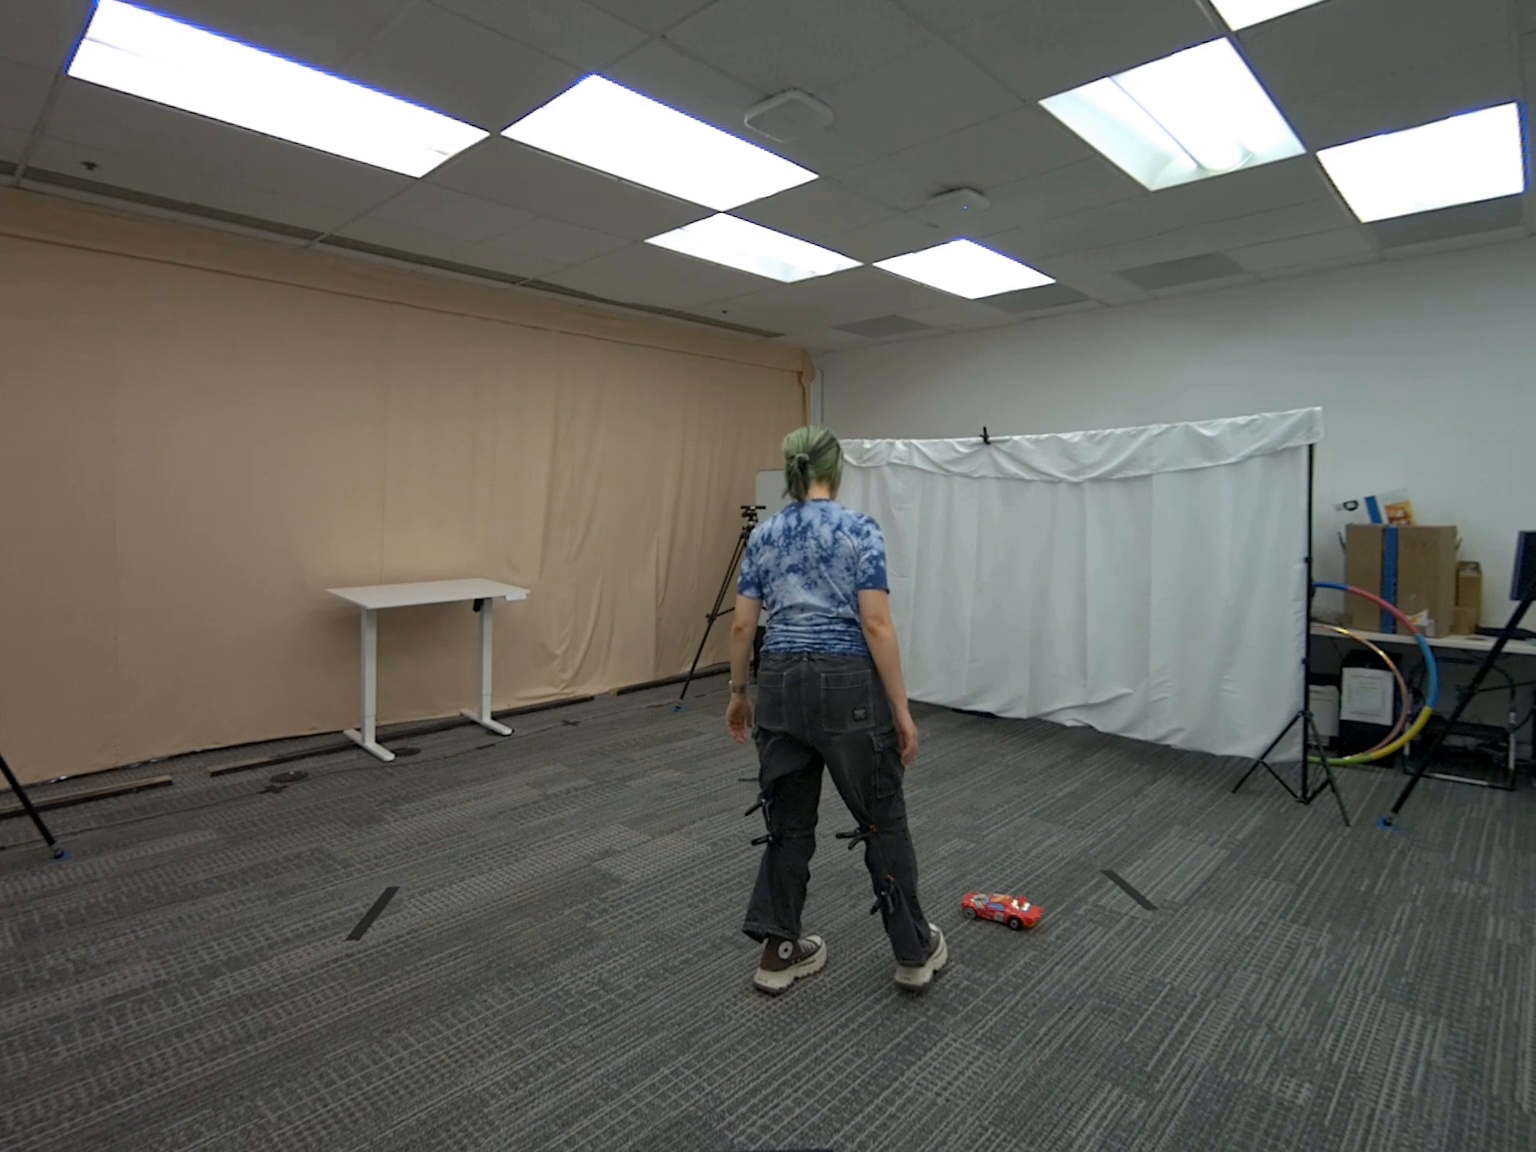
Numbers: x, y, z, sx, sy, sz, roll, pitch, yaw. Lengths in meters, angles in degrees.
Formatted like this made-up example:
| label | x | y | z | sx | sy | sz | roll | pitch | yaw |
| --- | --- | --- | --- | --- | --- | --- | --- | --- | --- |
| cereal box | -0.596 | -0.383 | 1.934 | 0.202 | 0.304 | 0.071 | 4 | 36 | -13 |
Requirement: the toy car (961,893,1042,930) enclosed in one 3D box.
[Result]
| label | x | y | z | sx | sy | sz | roll | pitch | yaw |
| --- | --- | --- | --- | --- | --- | --- | --- | --- | --- |
| toy car | 0.799 | 1.123 | 2.824 | 0.261 | 0.083 | 0.127 | -8 | 0 | 30 |
